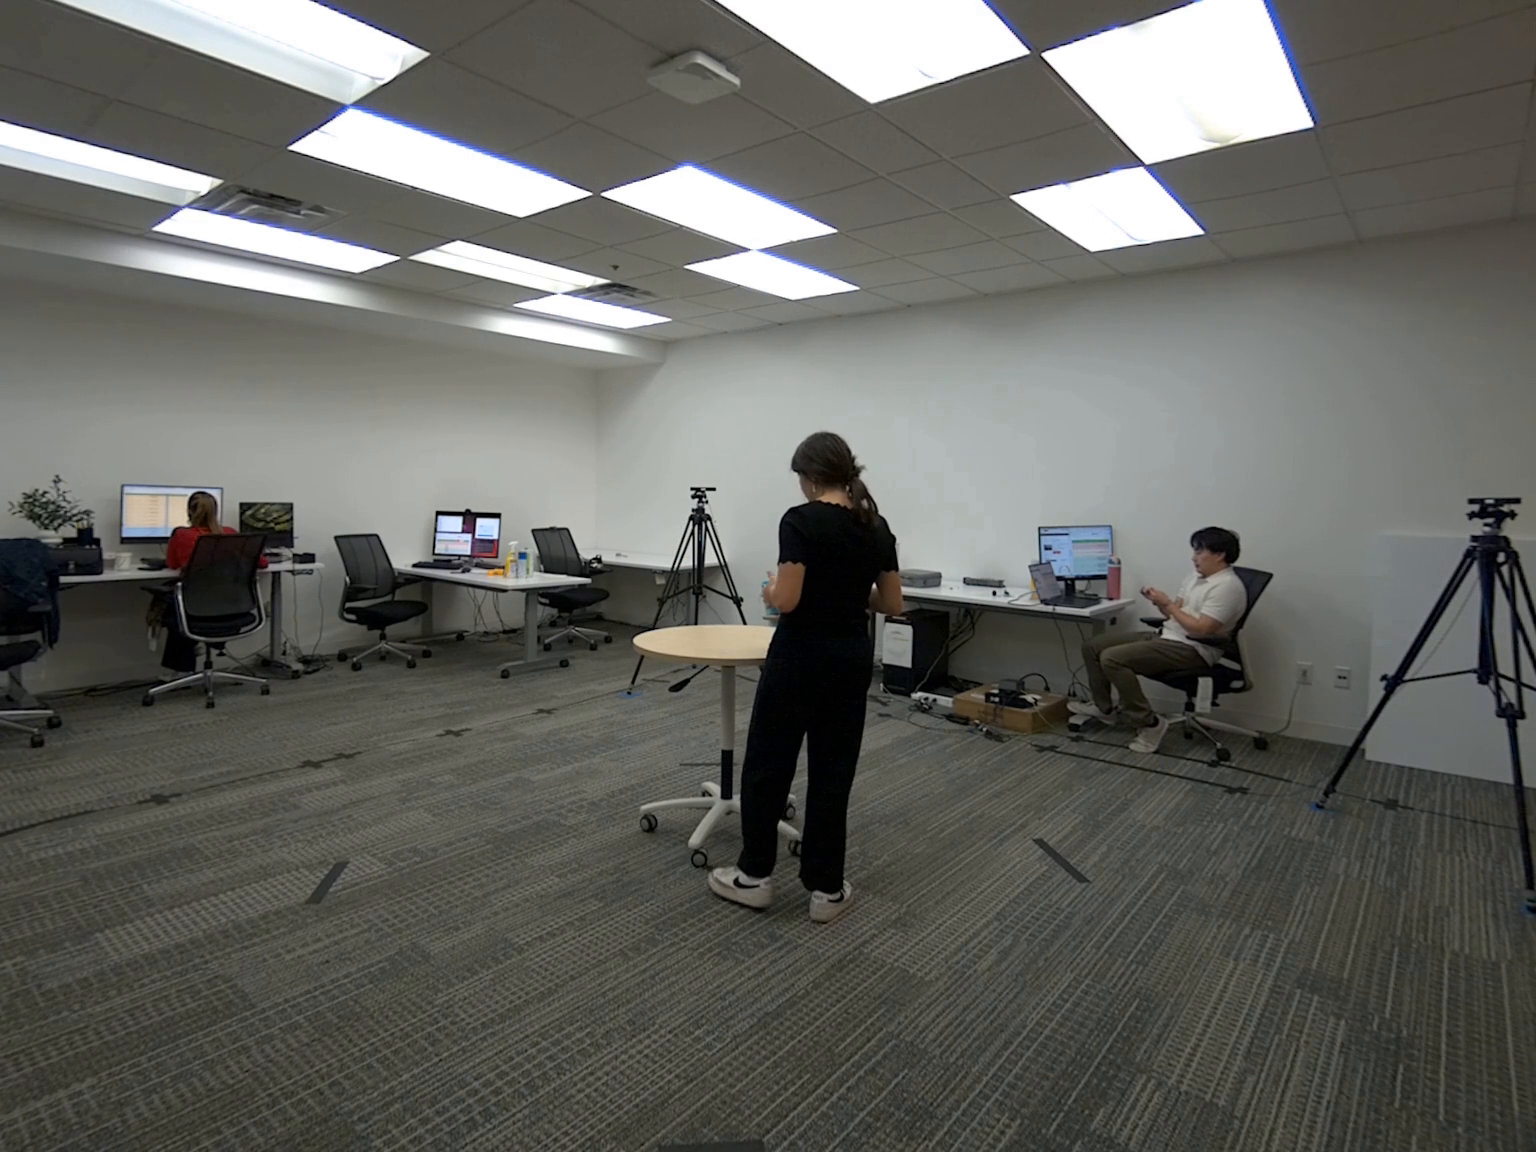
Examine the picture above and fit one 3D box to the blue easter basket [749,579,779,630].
[{"bbox_3d":[0.056,0.100,3.077,0.243,0.155,0.244,0,3,-2],"label":"blue easter basket"}]
